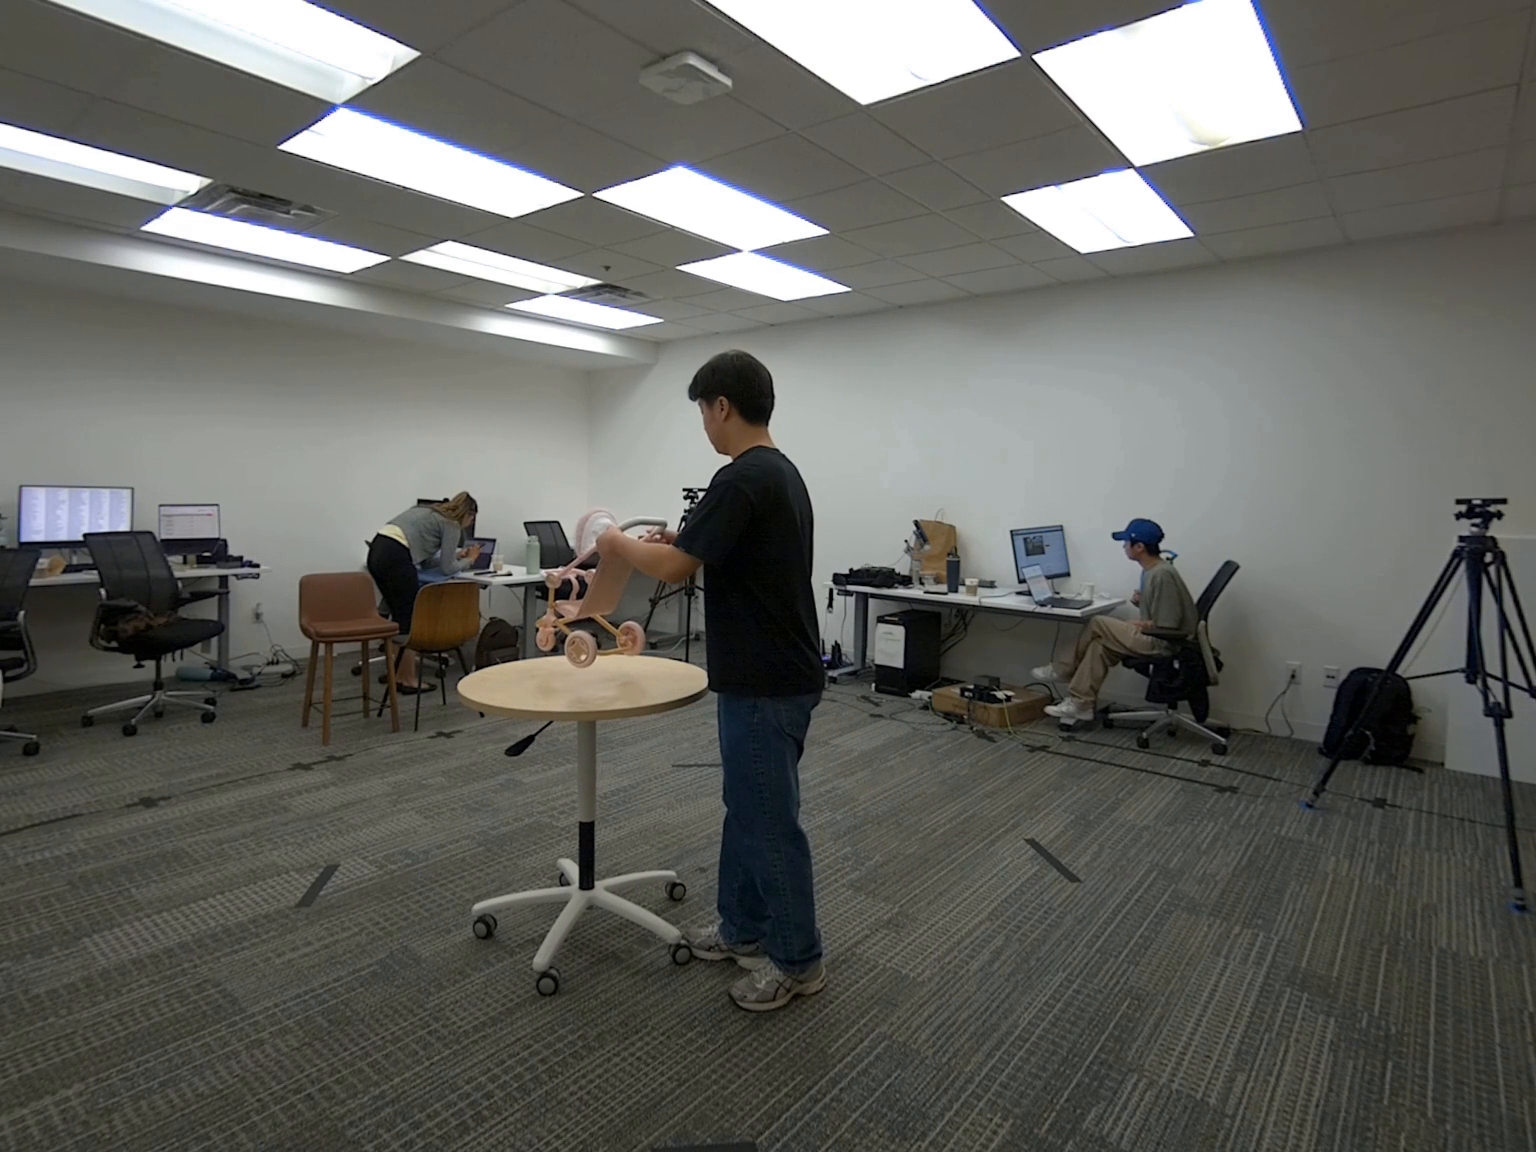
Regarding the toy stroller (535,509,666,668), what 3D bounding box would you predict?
[{"bbox_3d":[-0.550,0.027,2.629,0.354,0.531,0.273,21,12,31],"label":"toy stroller"}]
